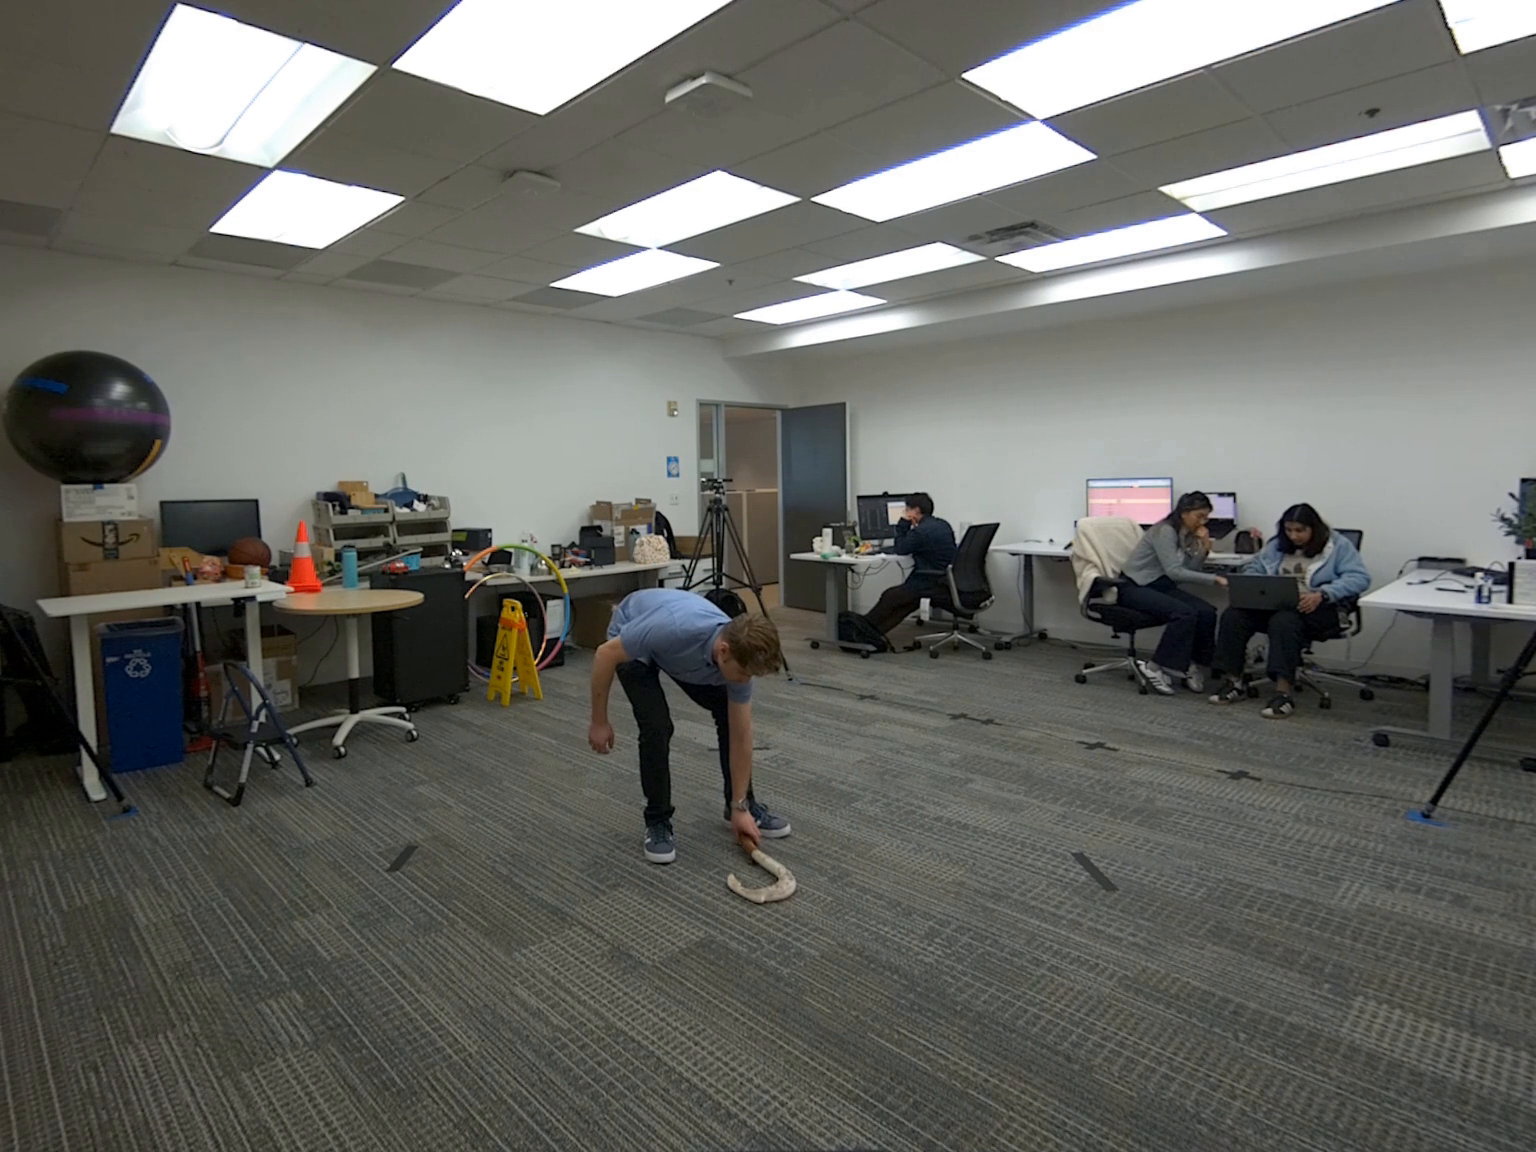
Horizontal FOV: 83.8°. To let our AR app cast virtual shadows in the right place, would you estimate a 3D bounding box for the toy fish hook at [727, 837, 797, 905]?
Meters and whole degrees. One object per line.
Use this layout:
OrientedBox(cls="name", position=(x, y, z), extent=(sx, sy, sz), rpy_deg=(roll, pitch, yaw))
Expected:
OrientedBox(cls="toy fish hook", position=(-0.066, 1.026, 3.049), extent=(0.221, 0.048, 0.518), rpy_deg=(0, 7, -20))
